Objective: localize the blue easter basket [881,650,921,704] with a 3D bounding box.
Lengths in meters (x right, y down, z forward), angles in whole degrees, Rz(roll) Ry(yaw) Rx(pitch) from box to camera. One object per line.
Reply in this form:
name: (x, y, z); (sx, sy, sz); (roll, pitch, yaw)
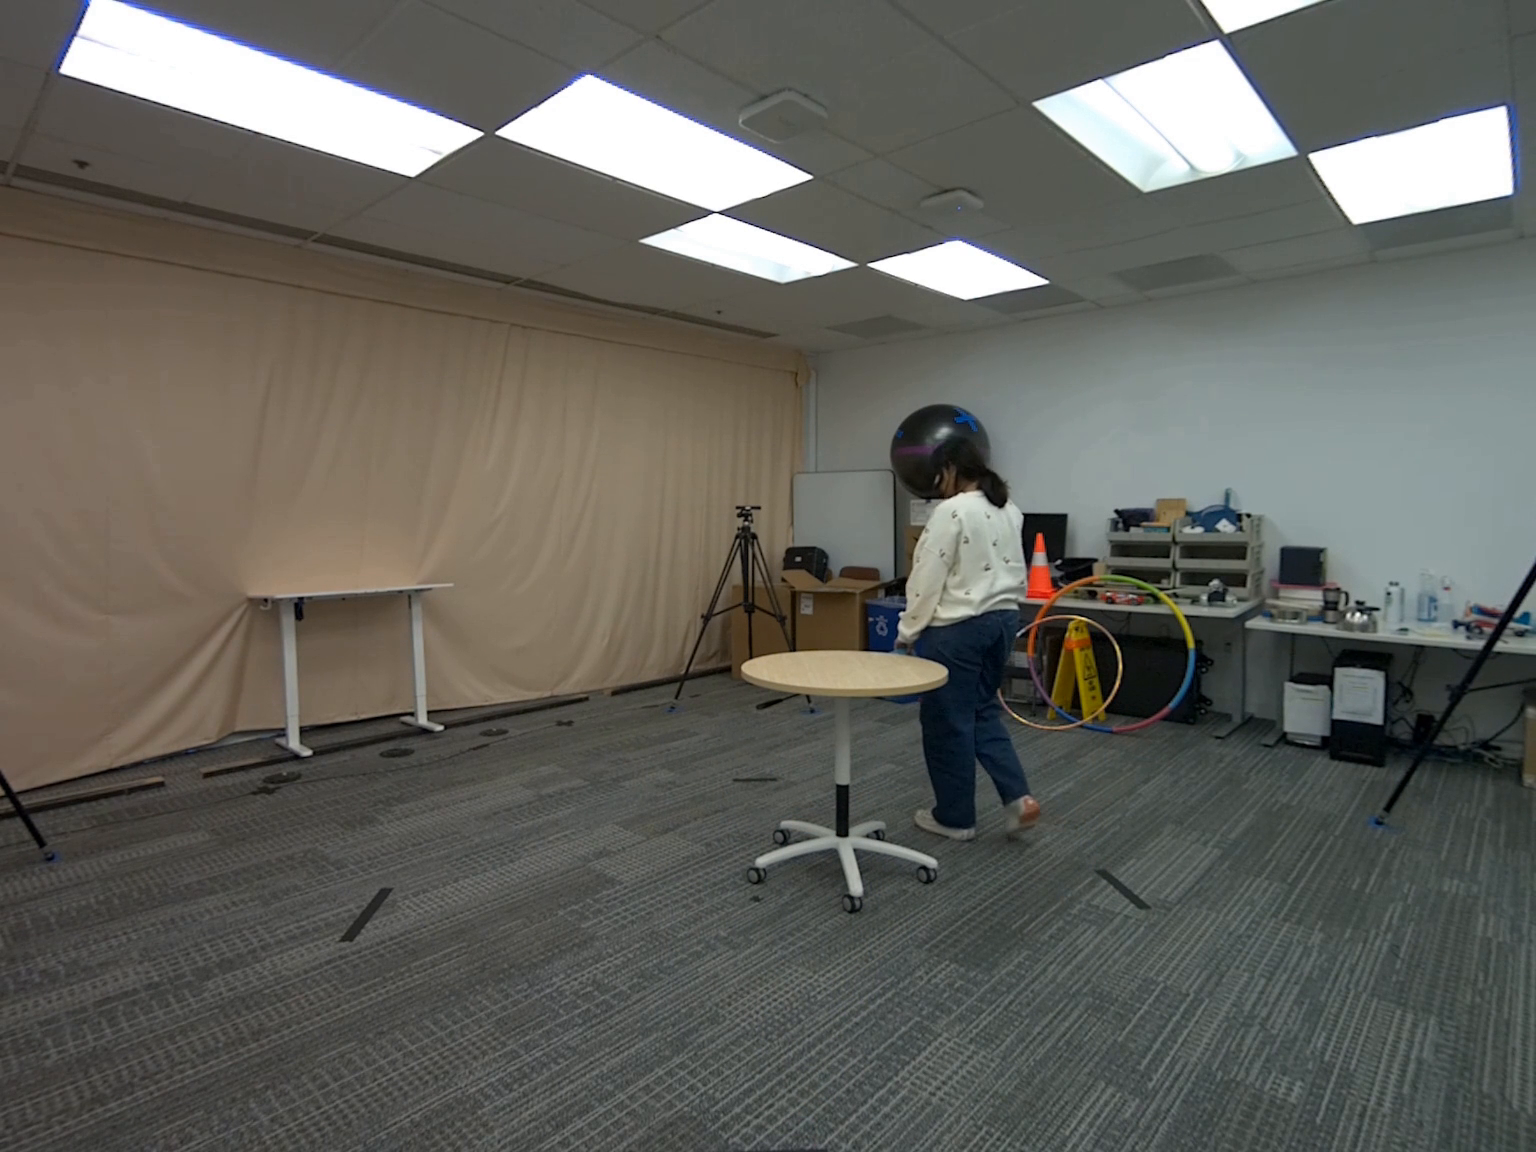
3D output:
blue easter basket: (0.590, 0.442, 3.642); (0.242, 0.159, 0.240); (-7, -31, -6)
